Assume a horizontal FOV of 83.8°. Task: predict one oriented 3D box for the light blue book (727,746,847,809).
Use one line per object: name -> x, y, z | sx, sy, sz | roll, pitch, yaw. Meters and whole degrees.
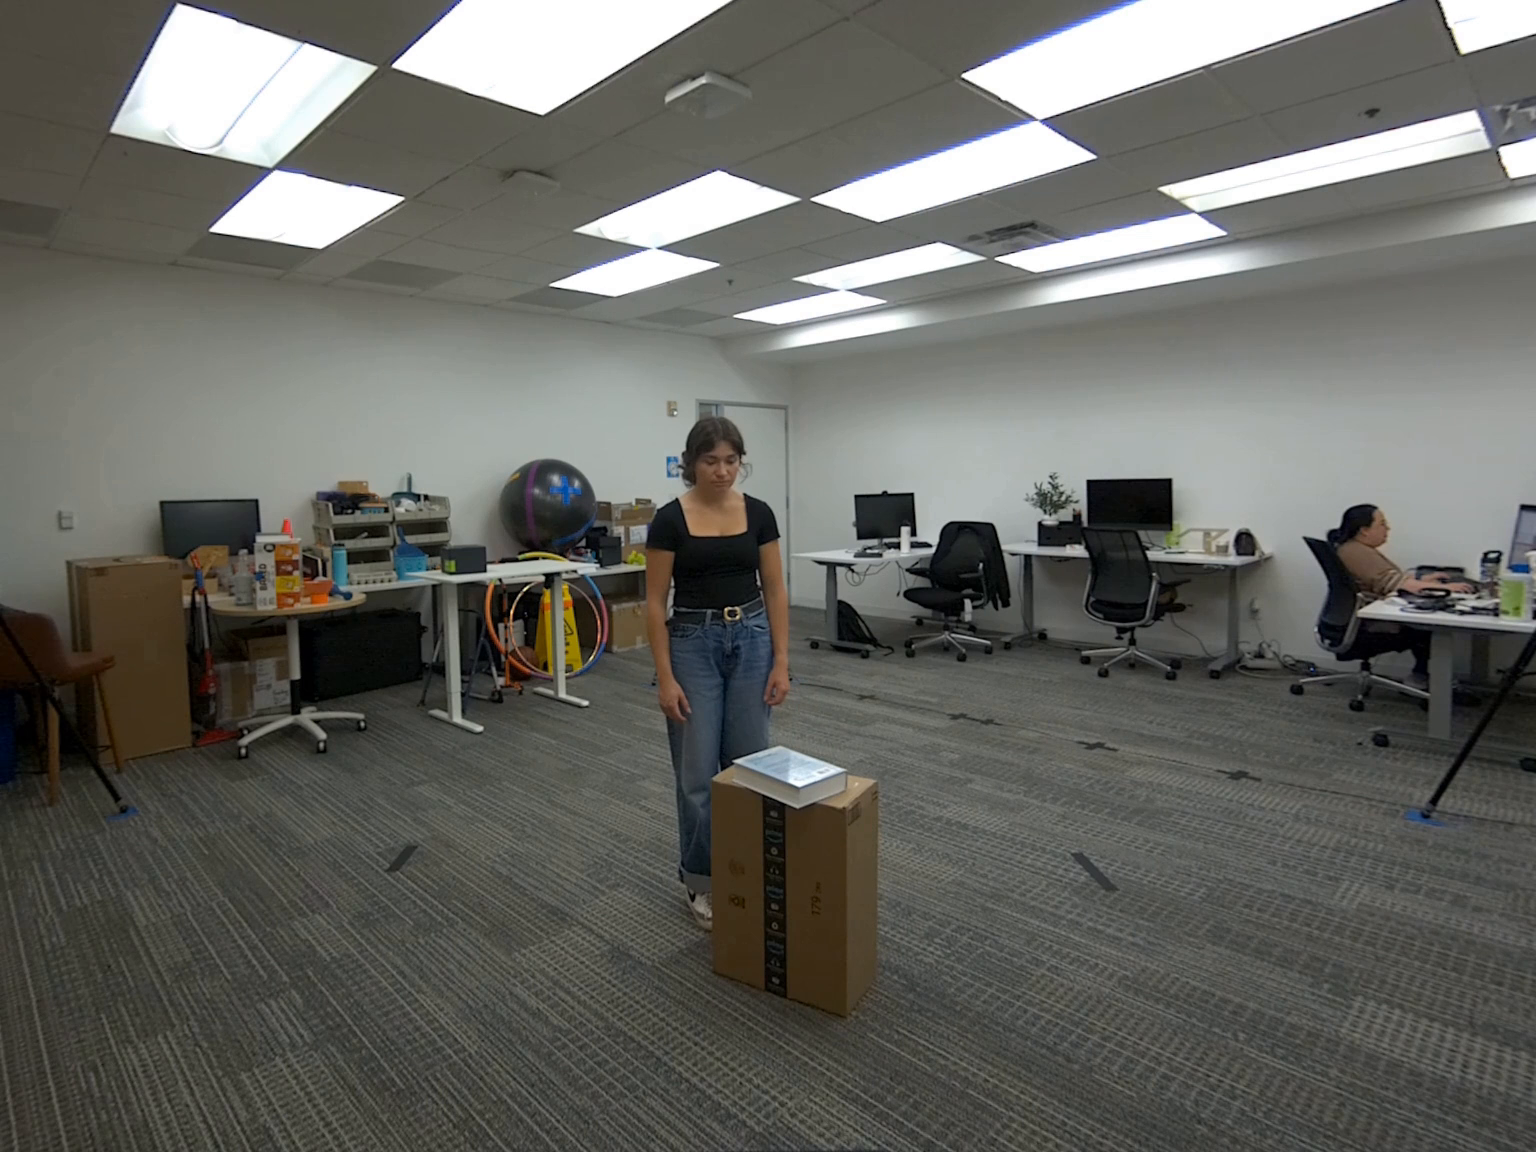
light blue book -> 0.059, 0.542, 2.327 | 0.186, 0.058, 0.269 | -9, 11, -42
